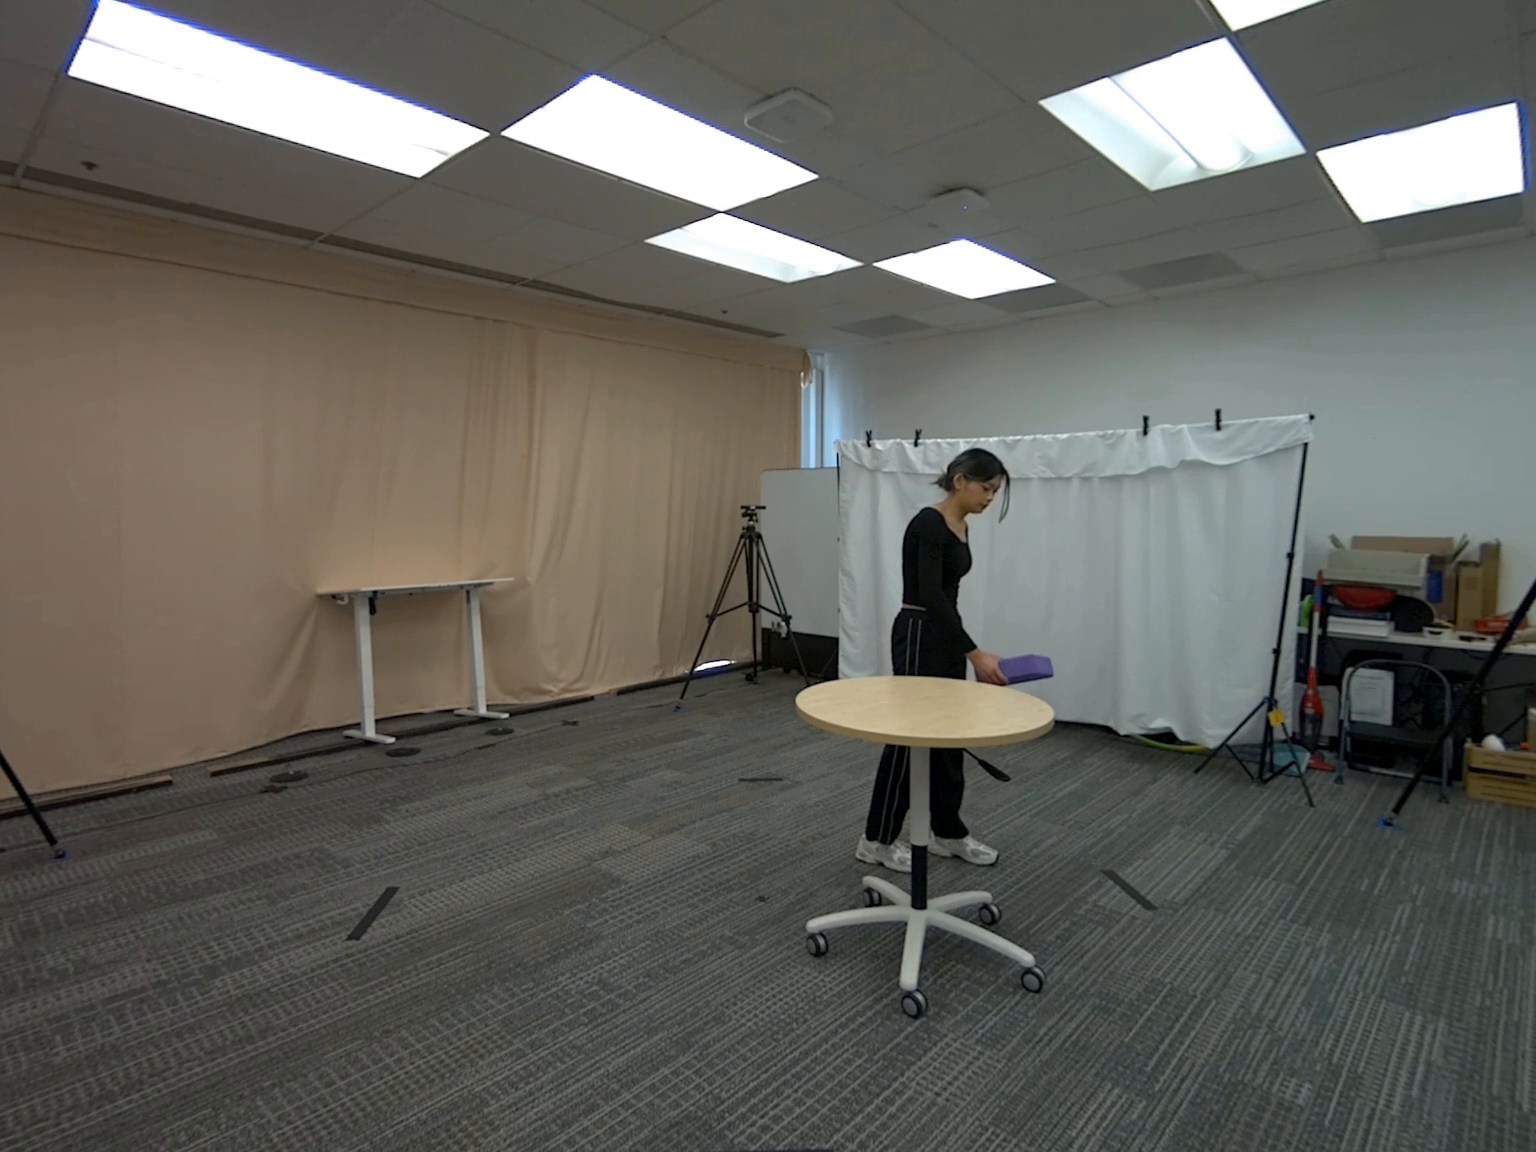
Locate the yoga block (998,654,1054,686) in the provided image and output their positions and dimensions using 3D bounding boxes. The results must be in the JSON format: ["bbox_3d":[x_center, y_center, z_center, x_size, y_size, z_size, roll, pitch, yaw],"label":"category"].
[{"bbox_3d":[0.865,0.334,2.999,0.235,0.077,0.144,-14,-17,35],"label":"yoga block"}]
